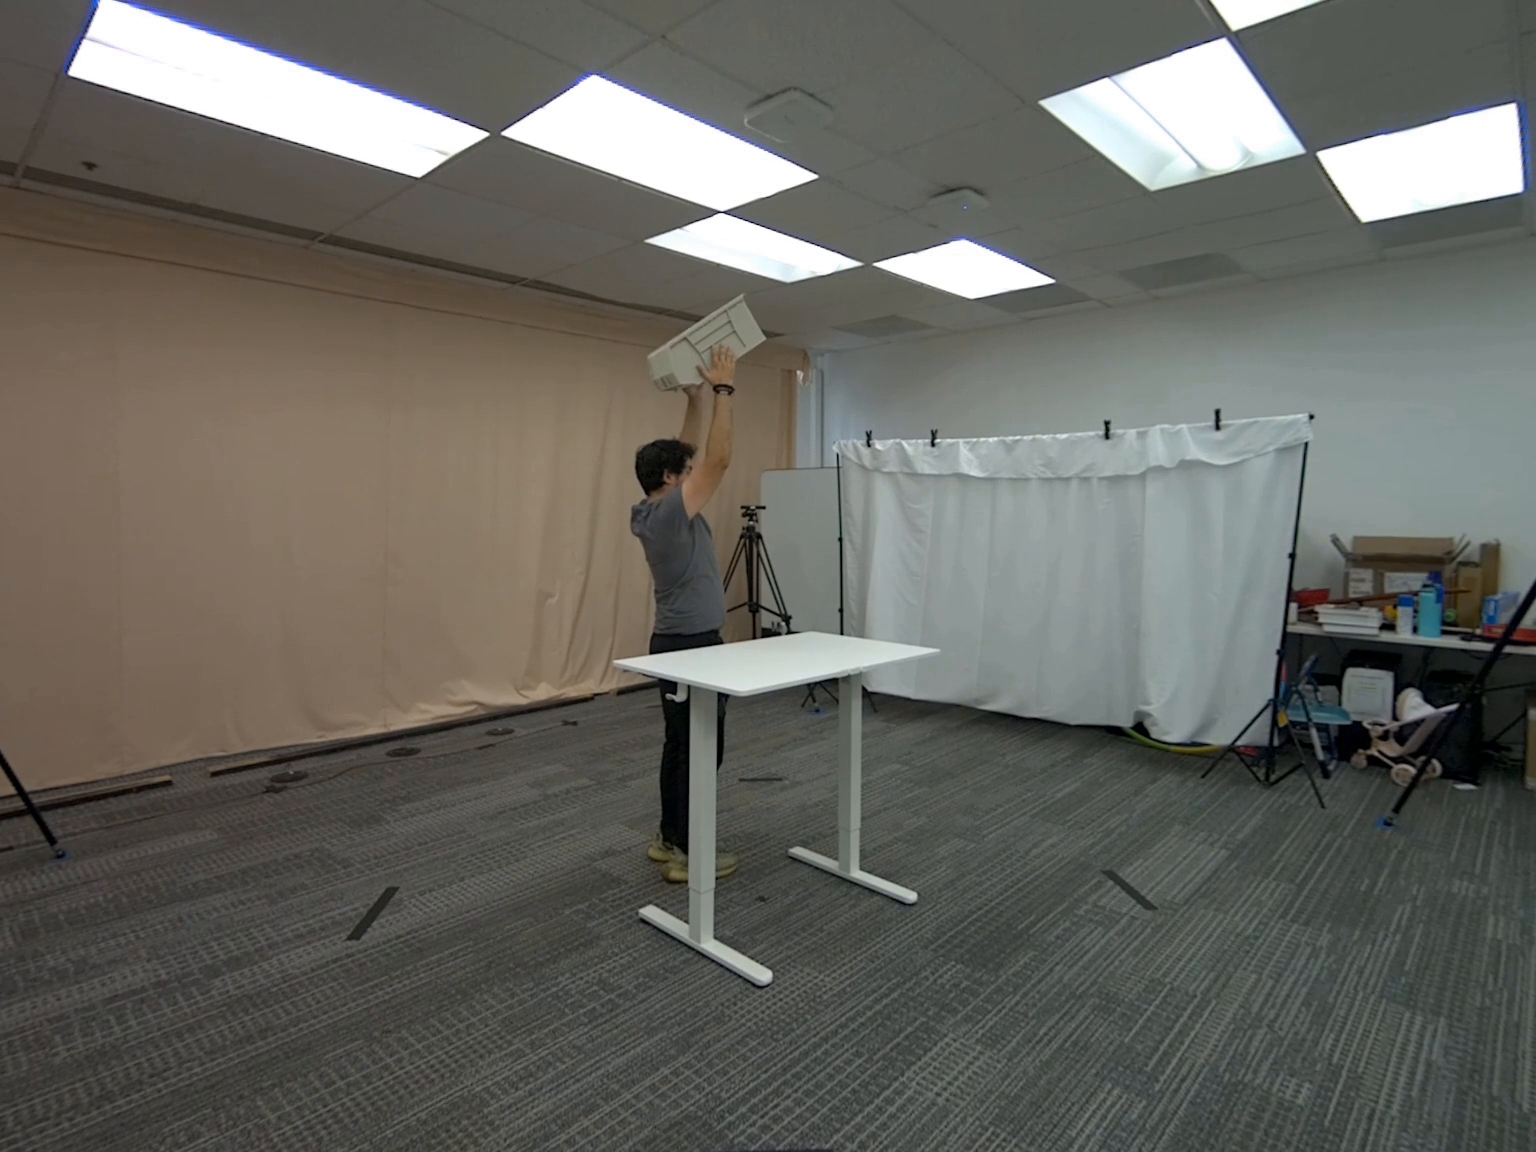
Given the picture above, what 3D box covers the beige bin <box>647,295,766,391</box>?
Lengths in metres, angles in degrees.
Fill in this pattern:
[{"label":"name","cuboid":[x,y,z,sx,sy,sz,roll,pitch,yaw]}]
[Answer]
[{"label":"beige bin","cuboid":[-0.244,-0.860,3.211,0.375,0.186,0.431,-35,16,-9]}]
